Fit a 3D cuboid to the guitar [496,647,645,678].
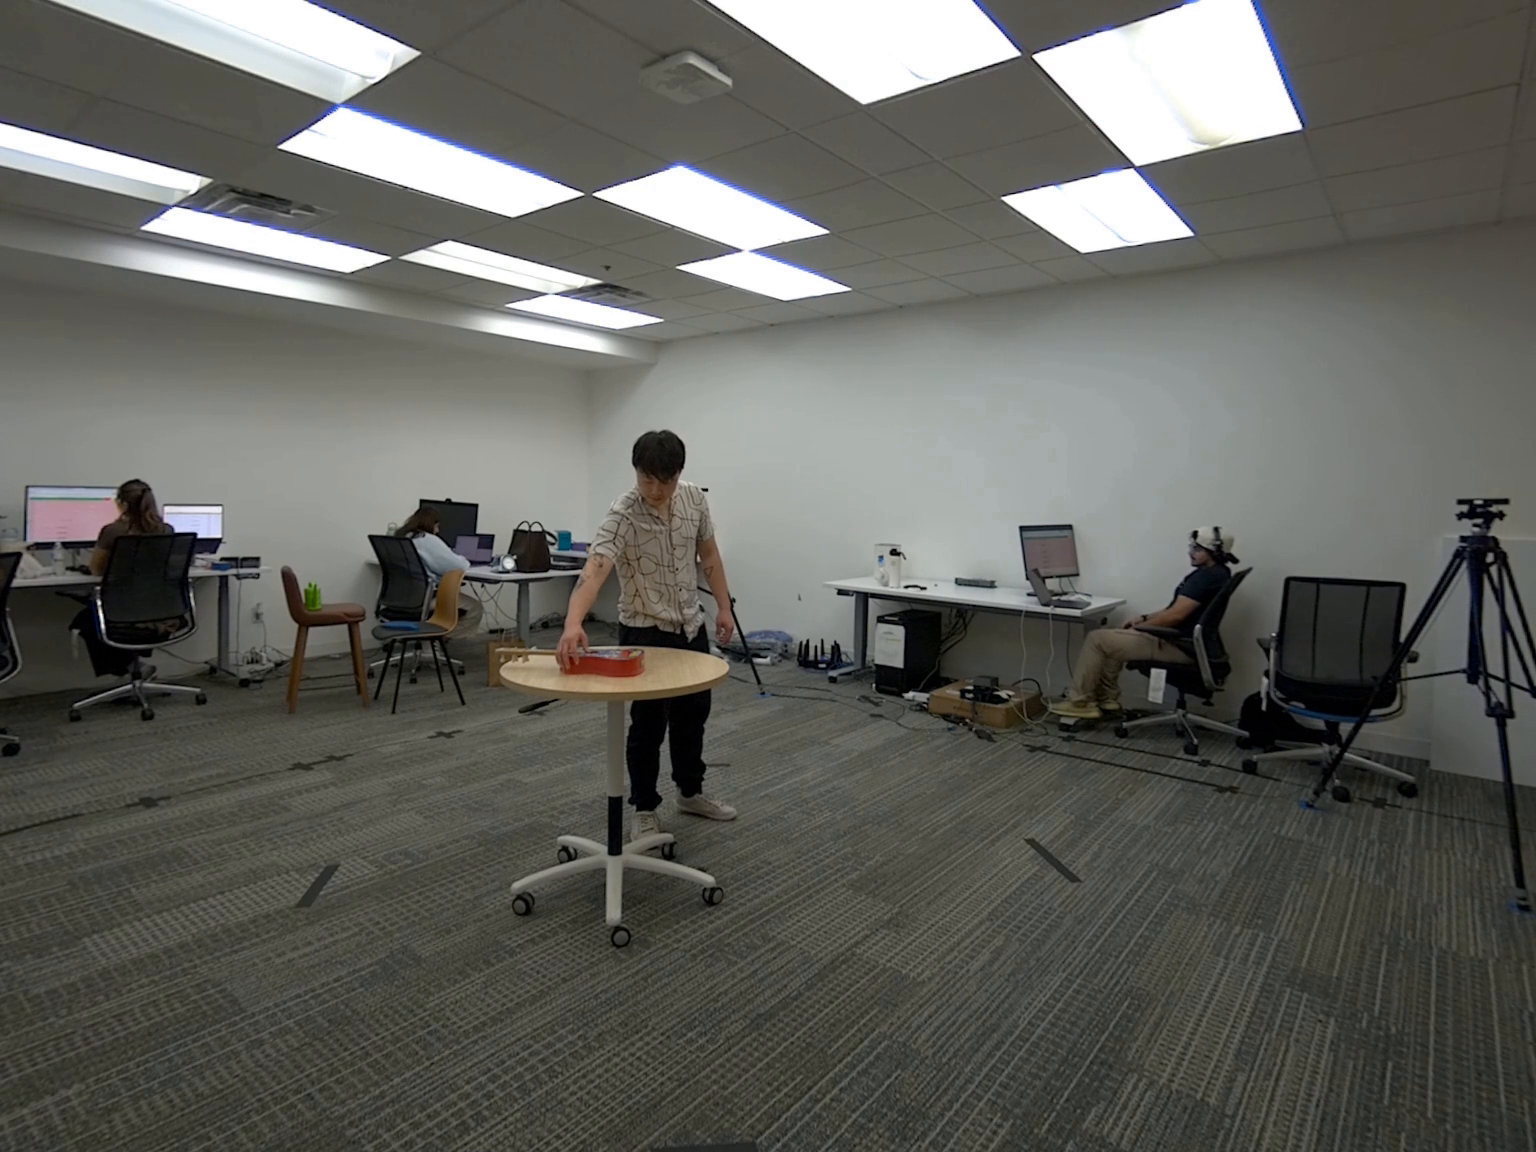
[{"bbox_3d":[-0.672,0.273,2.840,0.506,0.070,0.191,2,7,15],"label":"guitar"}]
